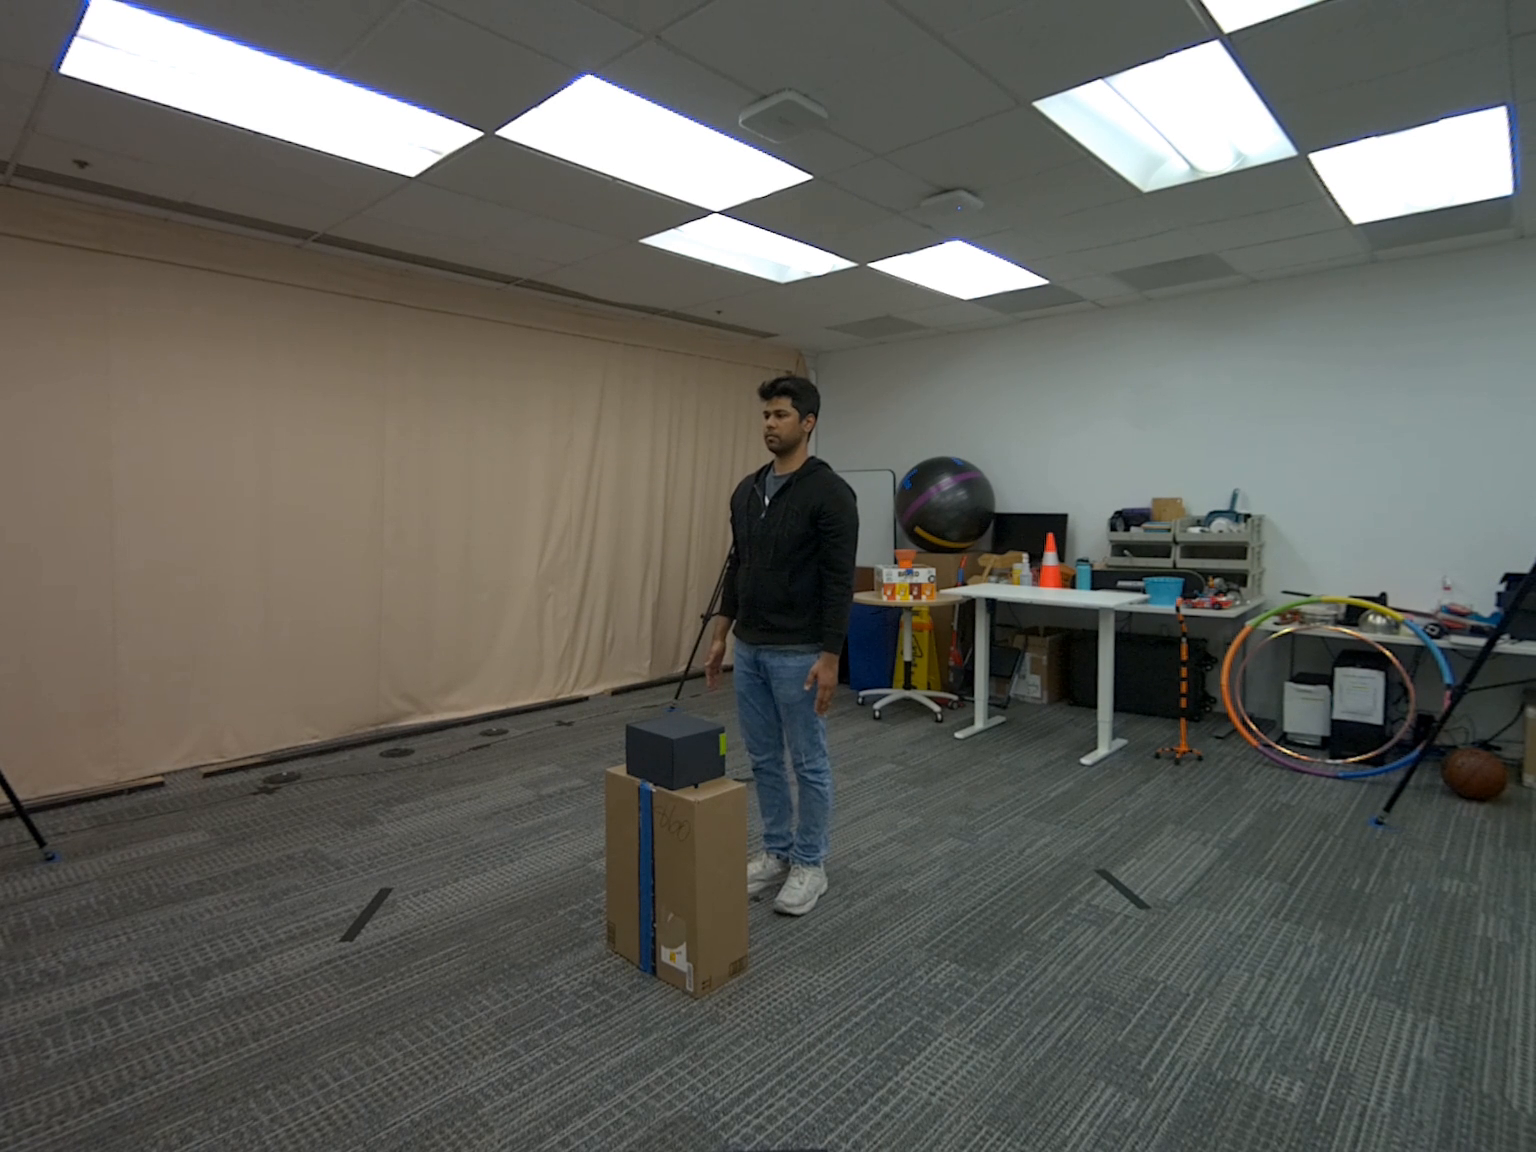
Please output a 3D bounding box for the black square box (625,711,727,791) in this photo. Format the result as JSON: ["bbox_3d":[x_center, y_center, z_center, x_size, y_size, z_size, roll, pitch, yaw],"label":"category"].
[{"bbox_3d":[-0.280,0.534,2.586,0.235,0.155,0.210,4,5,45],"label":"black square box"}]
